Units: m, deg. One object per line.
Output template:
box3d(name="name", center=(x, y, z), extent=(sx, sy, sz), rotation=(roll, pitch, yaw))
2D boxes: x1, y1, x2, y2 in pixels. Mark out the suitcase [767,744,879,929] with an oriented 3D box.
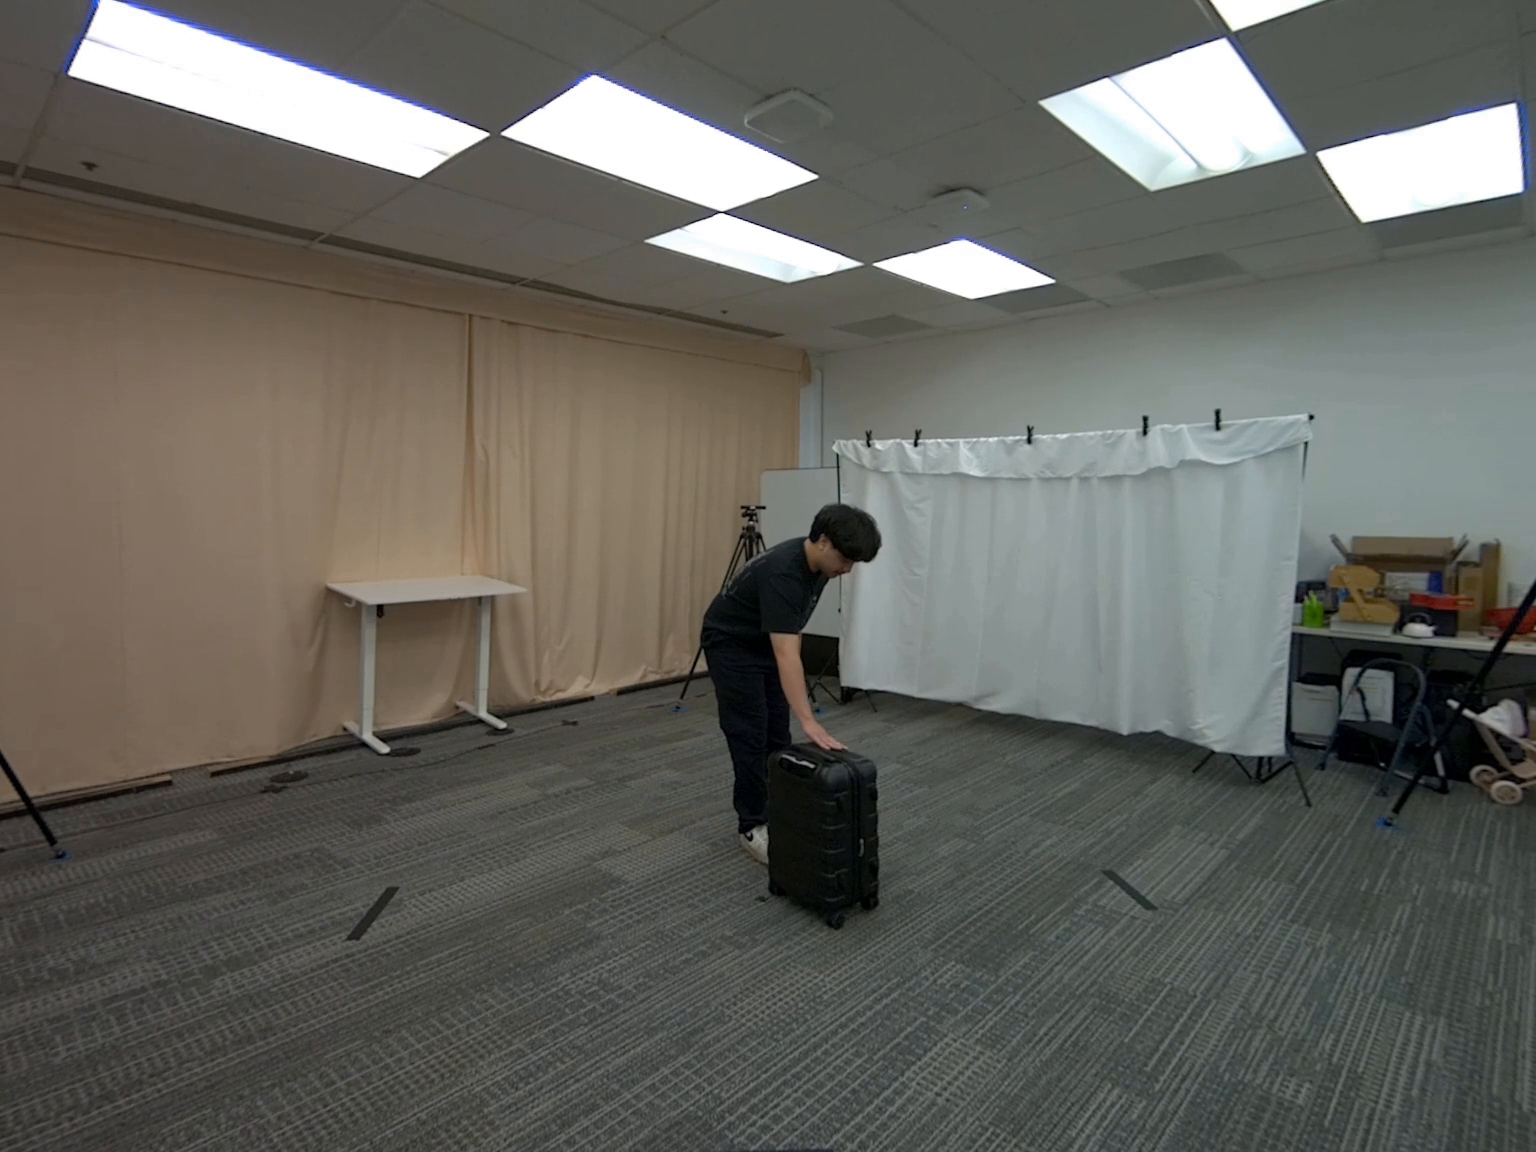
box3d(name="suitcase", center=(0.192, 0.869, 2.935), extent=(0.241, 0.548, 0.388), rotation=(-4, 6, -40))
